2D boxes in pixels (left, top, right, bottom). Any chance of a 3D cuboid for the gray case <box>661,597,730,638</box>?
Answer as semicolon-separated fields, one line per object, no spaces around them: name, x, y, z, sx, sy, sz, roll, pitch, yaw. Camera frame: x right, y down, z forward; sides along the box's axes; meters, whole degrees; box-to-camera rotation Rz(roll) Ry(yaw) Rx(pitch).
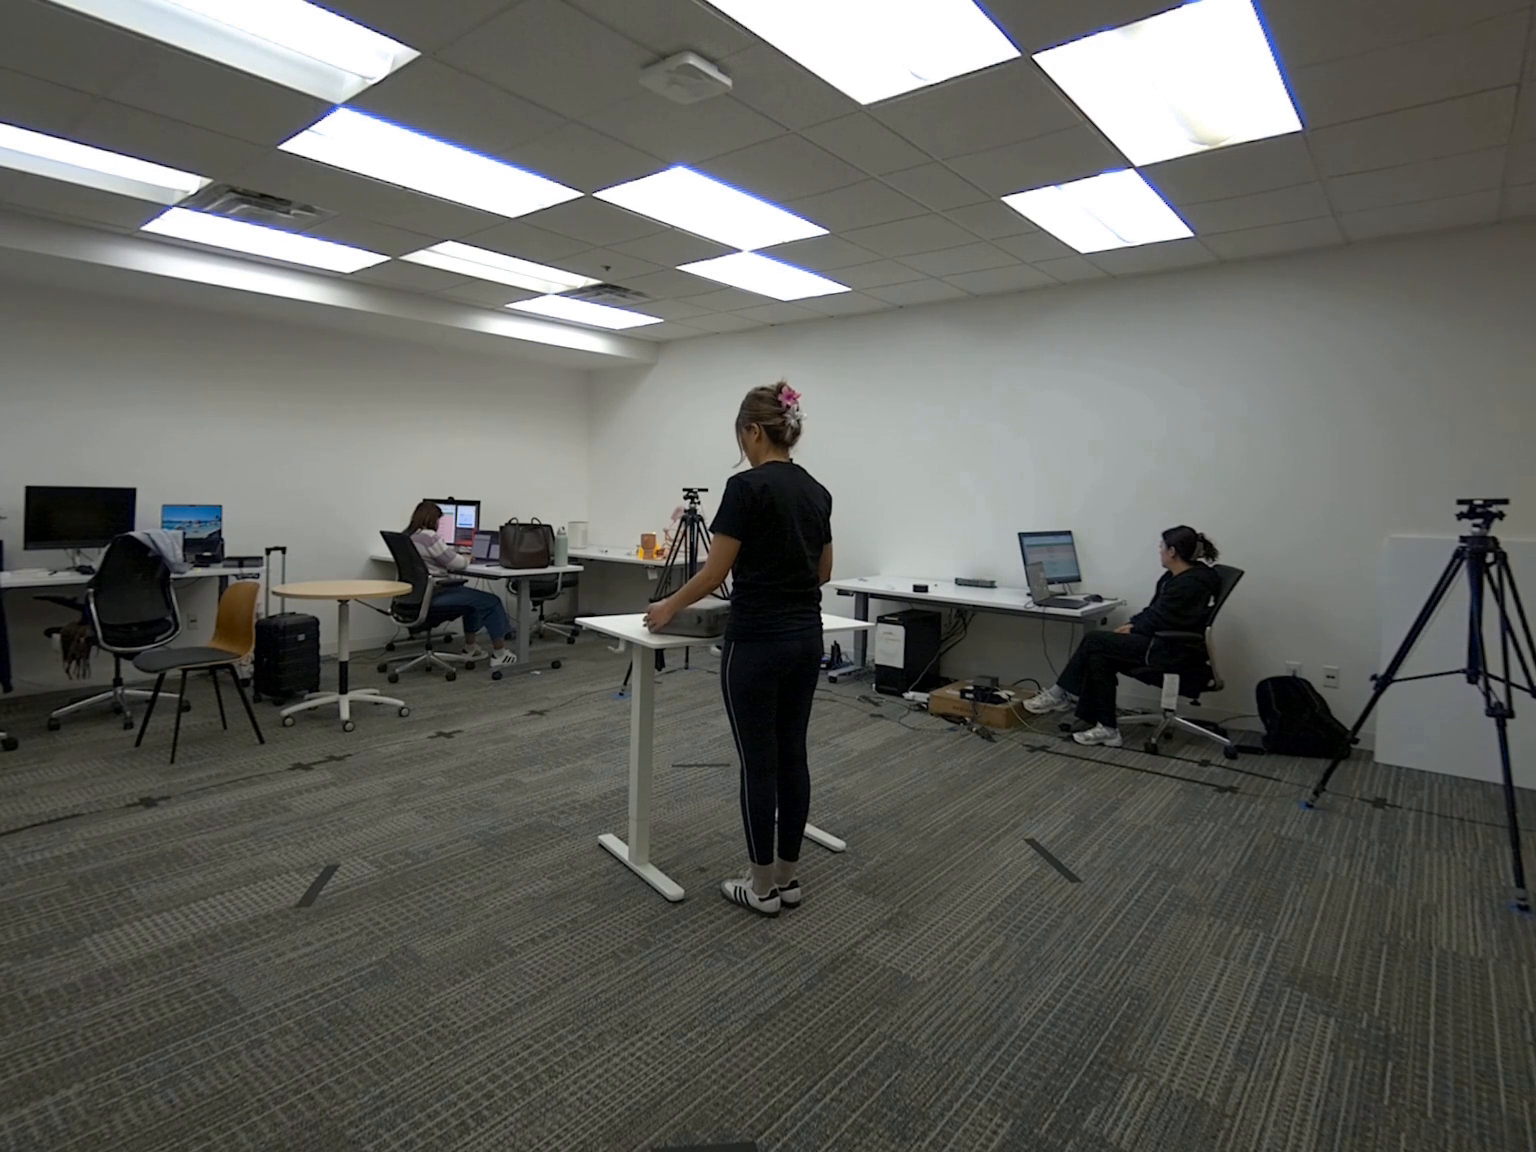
gray case;-0.257;0.139;3.007;0.267;0.104;0.251;2;4;23
